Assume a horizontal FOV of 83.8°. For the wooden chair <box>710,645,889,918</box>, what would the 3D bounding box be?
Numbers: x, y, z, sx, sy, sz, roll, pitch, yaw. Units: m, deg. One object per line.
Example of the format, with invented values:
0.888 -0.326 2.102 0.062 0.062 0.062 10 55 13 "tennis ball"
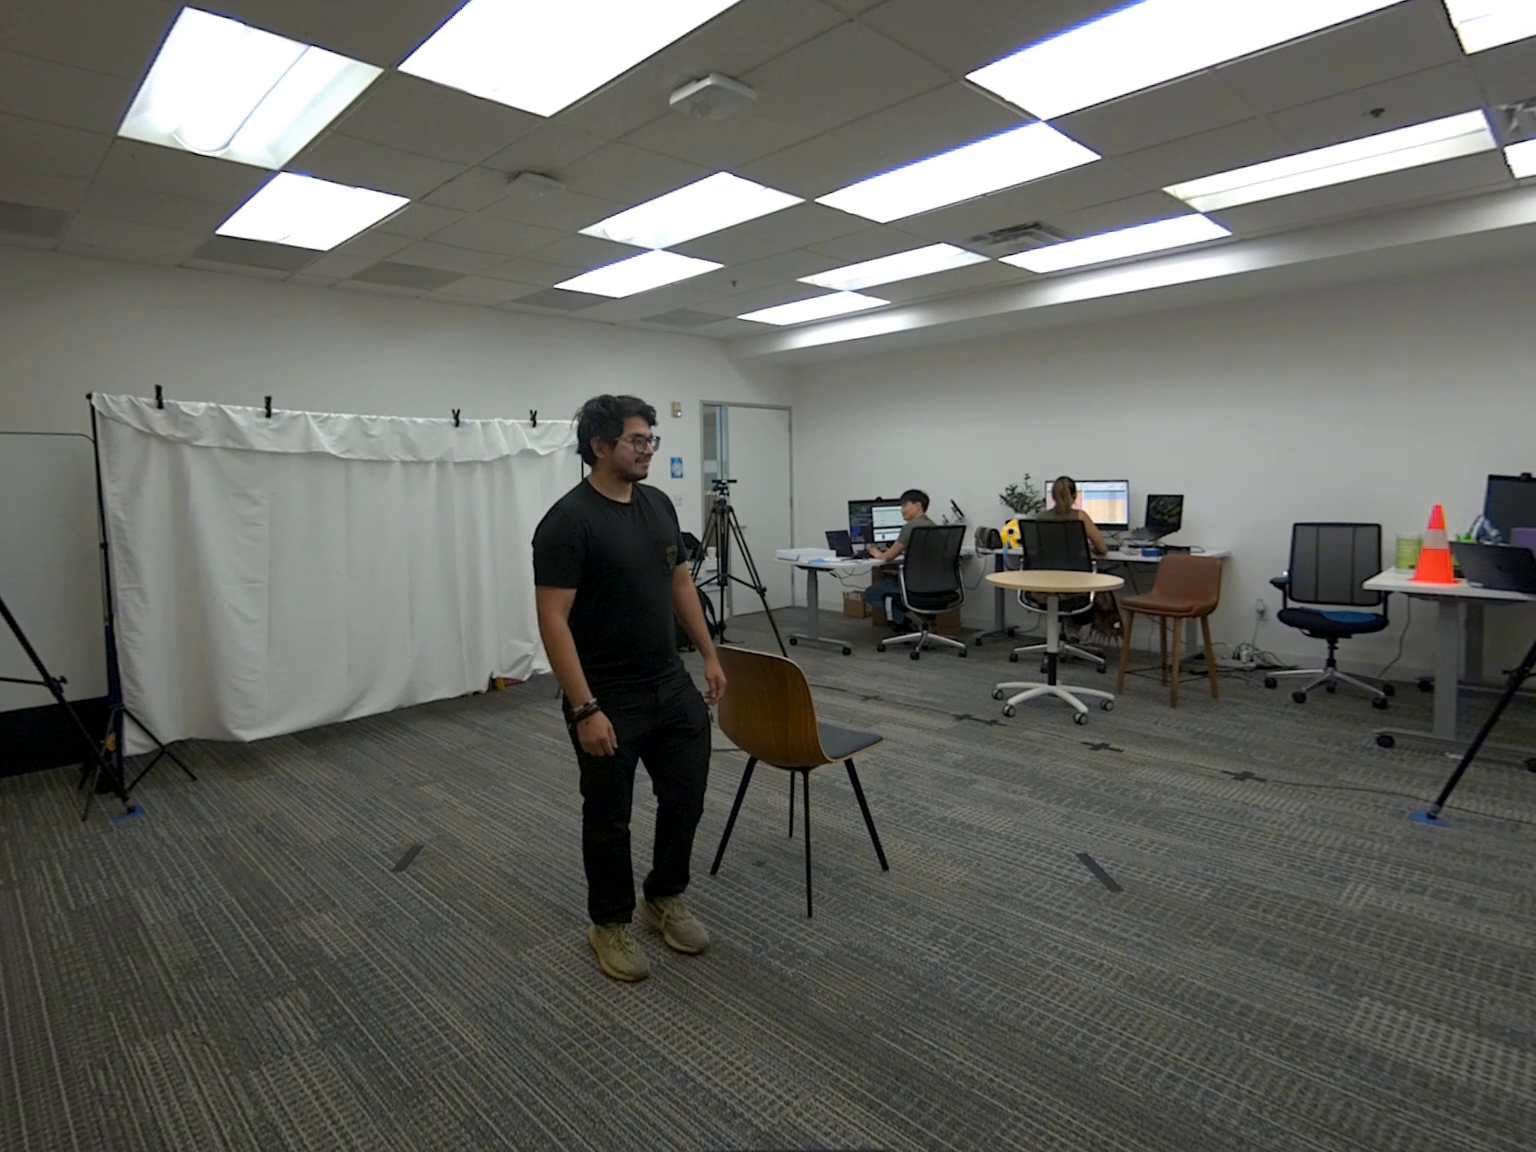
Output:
0.115 0.630 3.007 0.493 0.871 0.511 3 10 43 "wooden chair"
